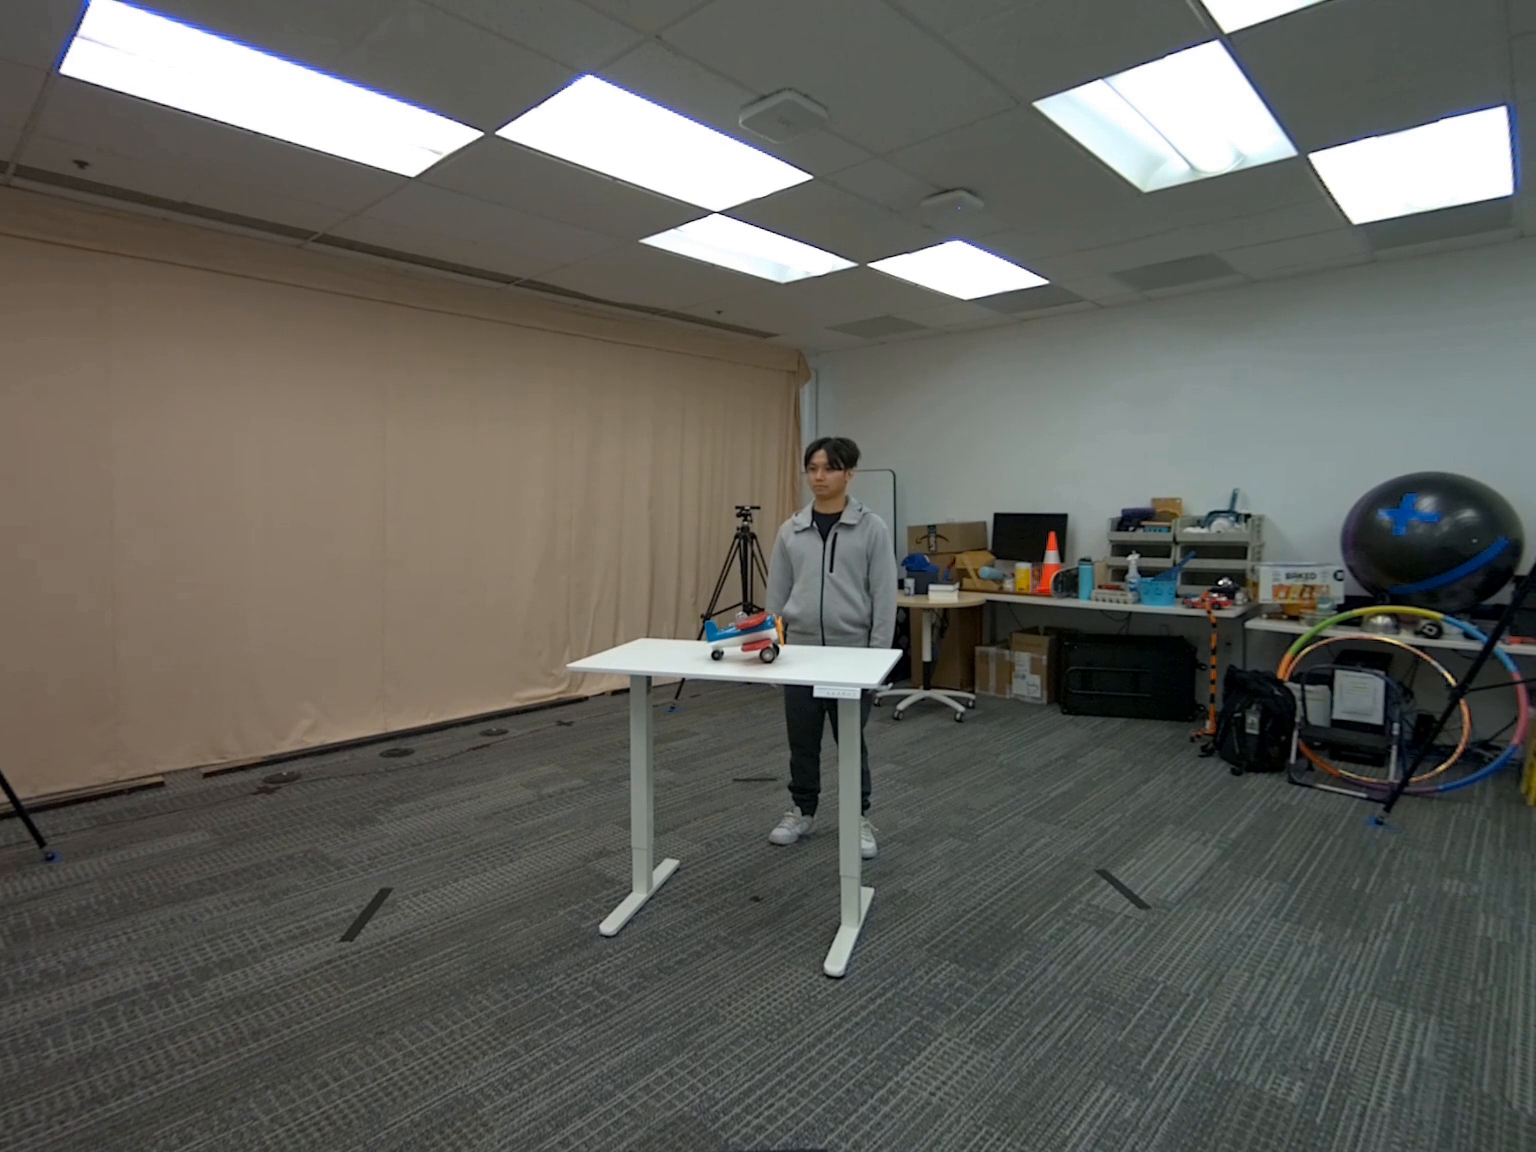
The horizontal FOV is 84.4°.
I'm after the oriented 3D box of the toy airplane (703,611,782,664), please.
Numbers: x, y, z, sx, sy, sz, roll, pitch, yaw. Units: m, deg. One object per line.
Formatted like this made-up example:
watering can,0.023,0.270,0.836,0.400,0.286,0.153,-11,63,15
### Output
toy airplane,-0.073,0.205,2.761,0.254,0.156,0.256,-2,3,-18
